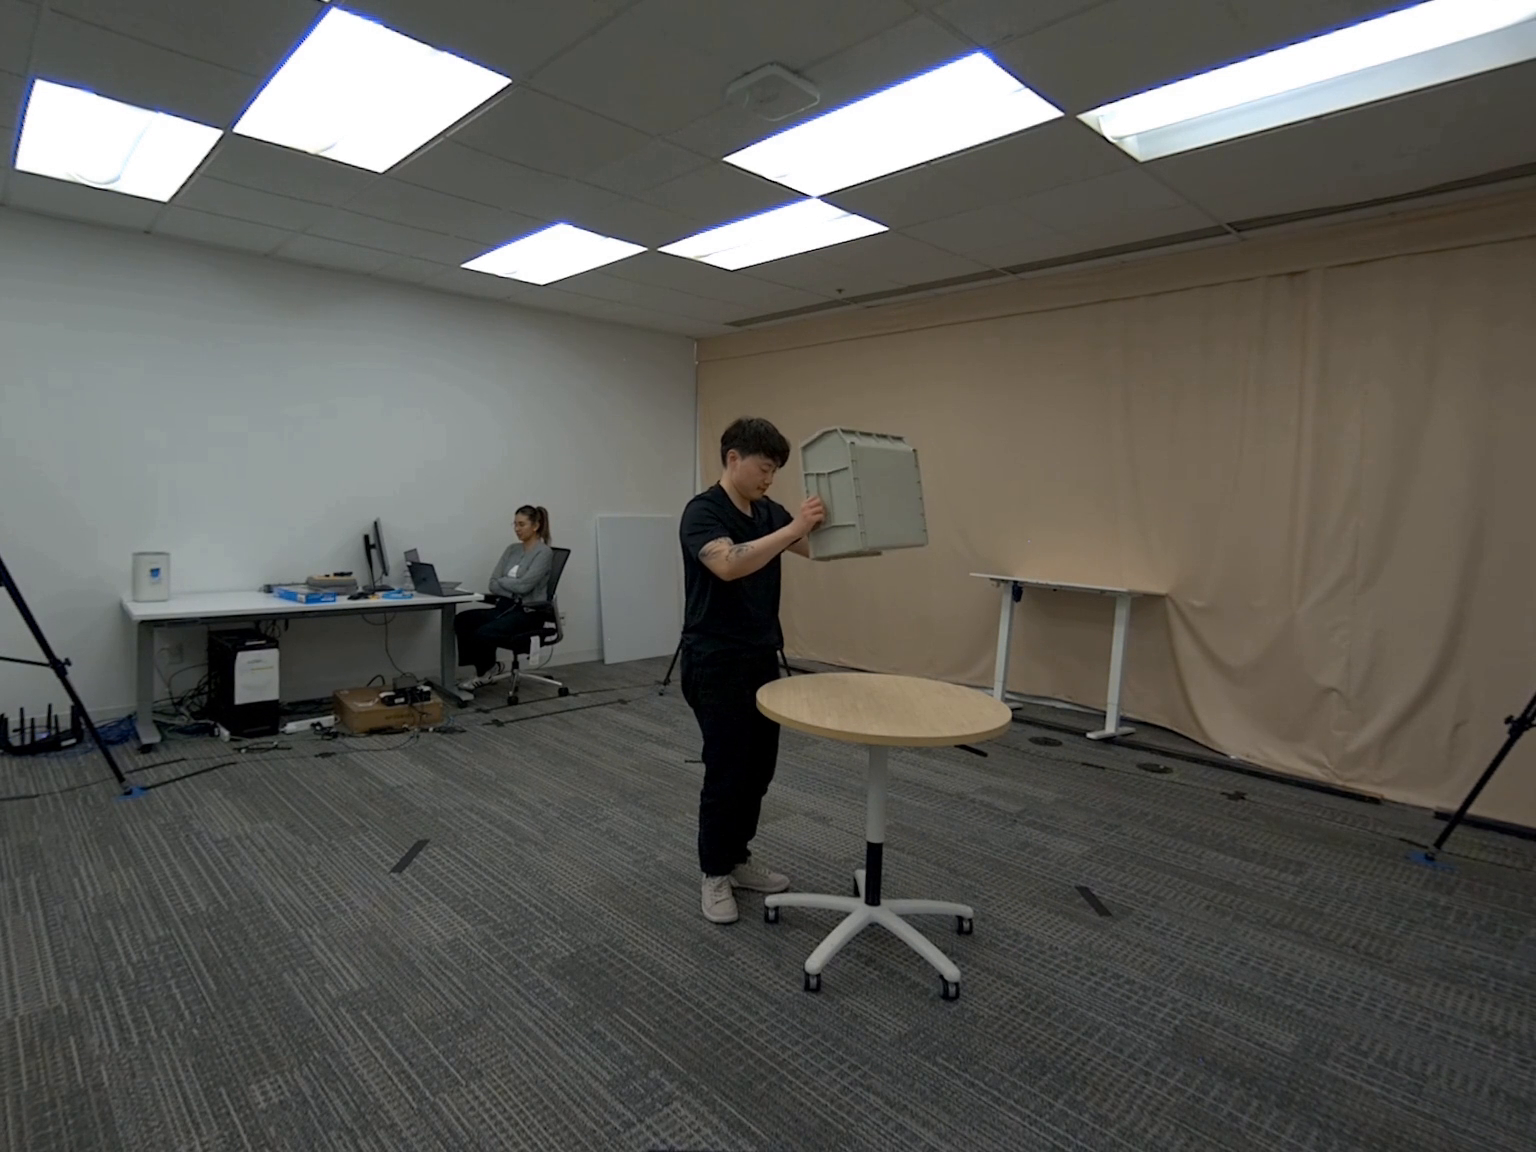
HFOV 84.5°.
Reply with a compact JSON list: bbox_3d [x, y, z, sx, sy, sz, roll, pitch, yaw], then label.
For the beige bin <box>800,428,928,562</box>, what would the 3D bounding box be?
[{"bbox_3d":[0.303,-0.233,2.596,0.193,0.378,0.413,-6,-1,38],"label":"beige bin"}]
